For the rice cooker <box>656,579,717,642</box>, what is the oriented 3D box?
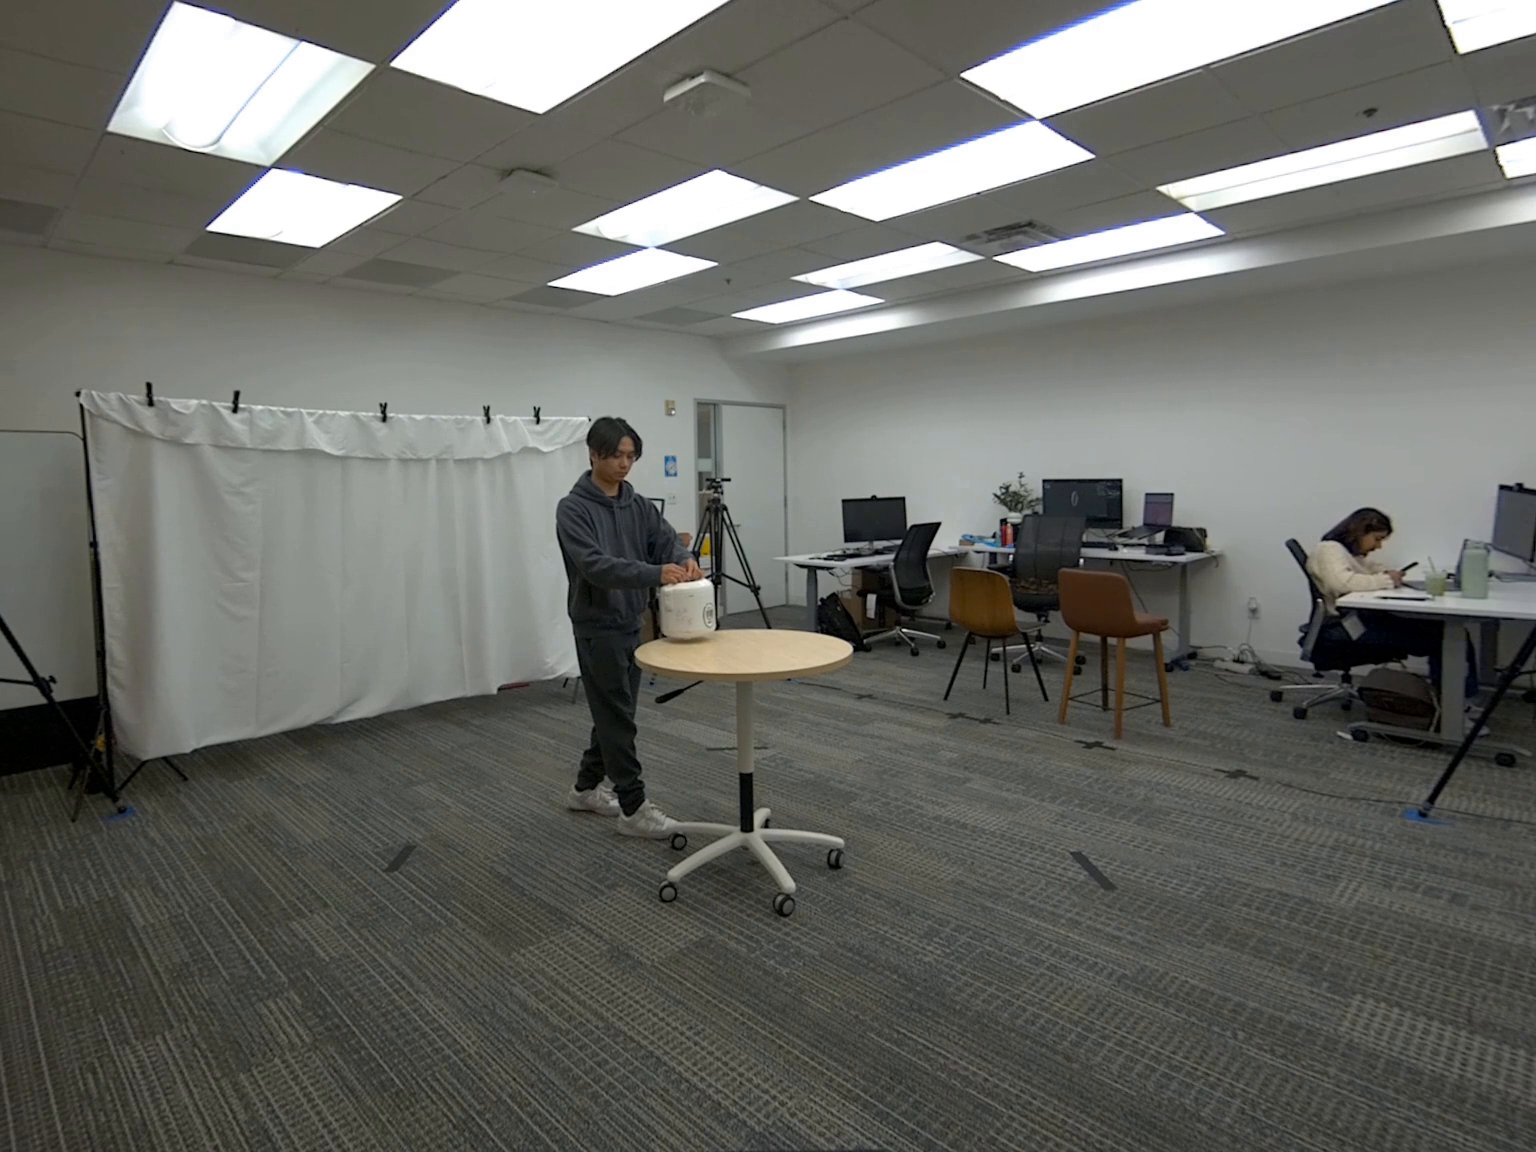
[{"bbox_3d":[-0.300,0.108,3.200,0.223,0.232,0.215,-3,5,38],"label":"rice cooker"}]
